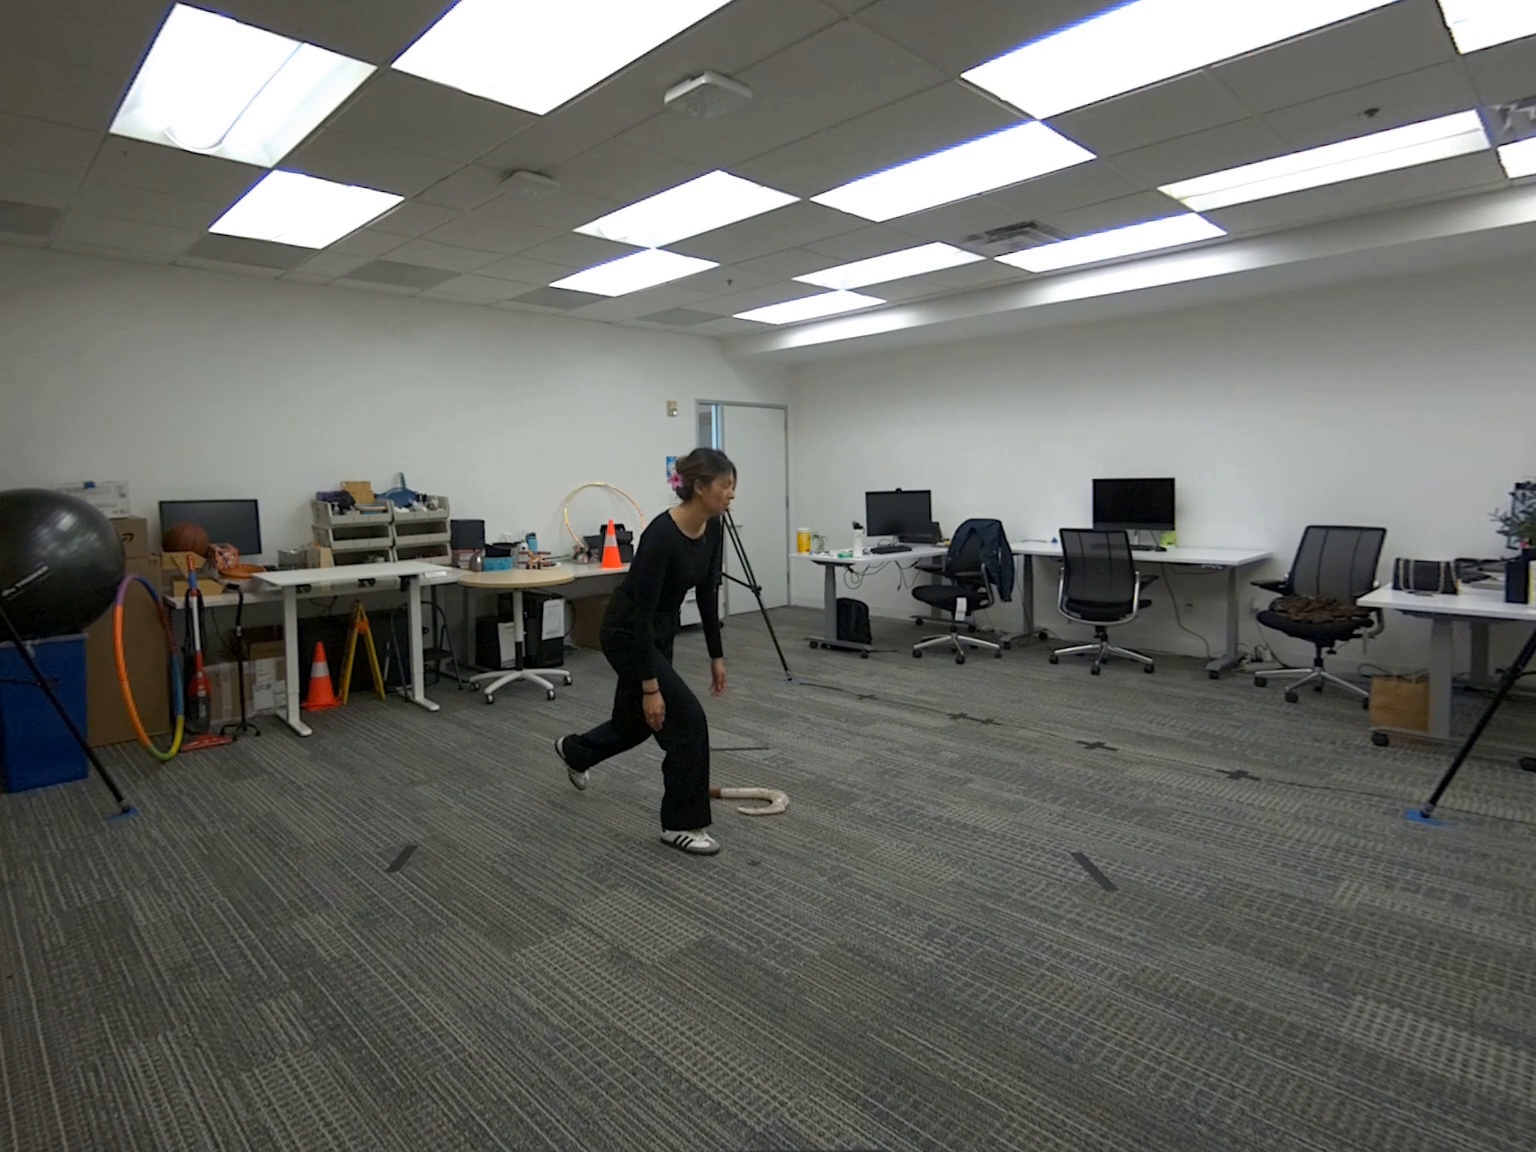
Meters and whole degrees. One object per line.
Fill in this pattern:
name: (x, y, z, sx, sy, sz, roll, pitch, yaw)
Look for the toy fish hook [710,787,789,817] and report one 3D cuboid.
toy fish hook: (-0.165, 0.954, 3.683, 0.515, 0.048, 0.221, 1, 5, 18)
